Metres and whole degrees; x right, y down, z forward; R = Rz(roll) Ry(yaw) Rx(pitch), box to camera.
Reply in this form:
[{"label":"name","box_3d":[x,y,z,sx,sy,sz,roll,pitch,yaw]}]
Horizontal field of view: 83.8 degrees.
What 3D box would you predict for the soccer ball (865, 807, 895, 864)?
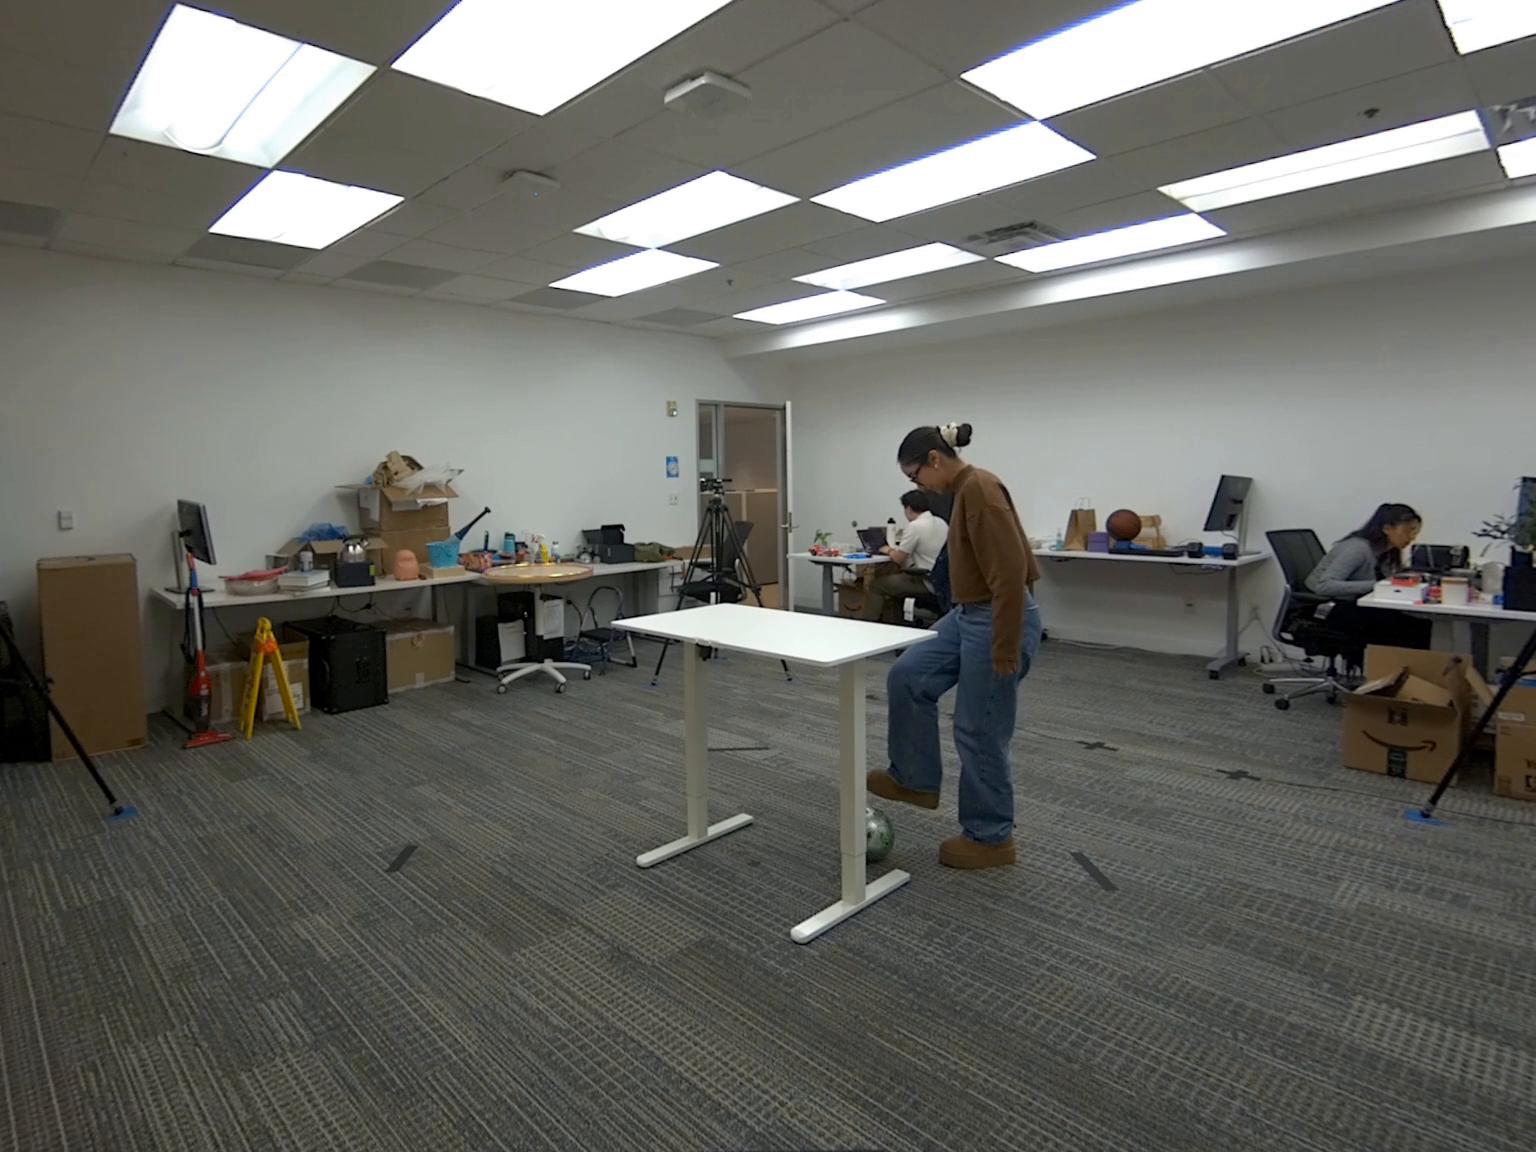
[{"label":"soccer ball","box_3d":[0.378,0.947,3.125,0.187,0.187,0.188,-1,5,-2]}]
